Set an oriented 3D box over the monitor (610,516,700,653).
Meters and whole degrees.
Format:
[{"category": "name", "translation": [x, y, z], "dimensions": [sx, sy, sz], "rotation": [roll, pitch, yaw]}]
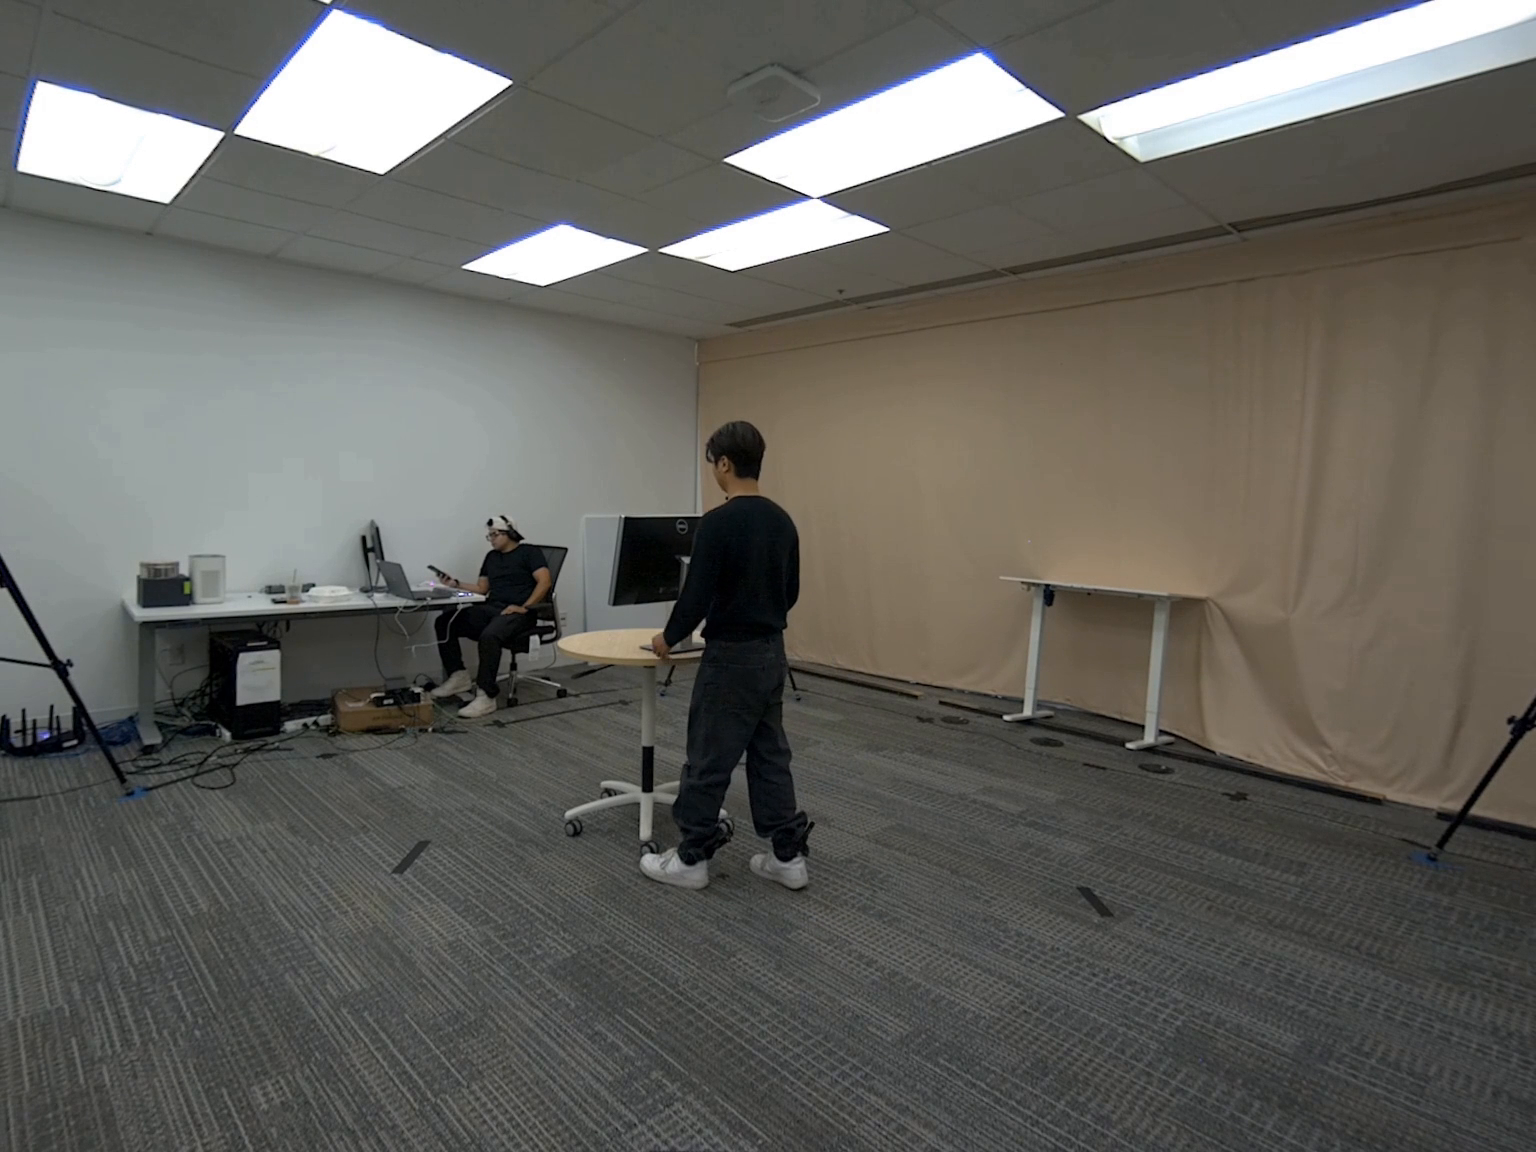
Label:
[{"category": "monitor", "translation": [-0.363, 0.026, 3.388], "dimensions": [0.192, 0.521, 0.527], "rotation": [2, 4, 42]}]
